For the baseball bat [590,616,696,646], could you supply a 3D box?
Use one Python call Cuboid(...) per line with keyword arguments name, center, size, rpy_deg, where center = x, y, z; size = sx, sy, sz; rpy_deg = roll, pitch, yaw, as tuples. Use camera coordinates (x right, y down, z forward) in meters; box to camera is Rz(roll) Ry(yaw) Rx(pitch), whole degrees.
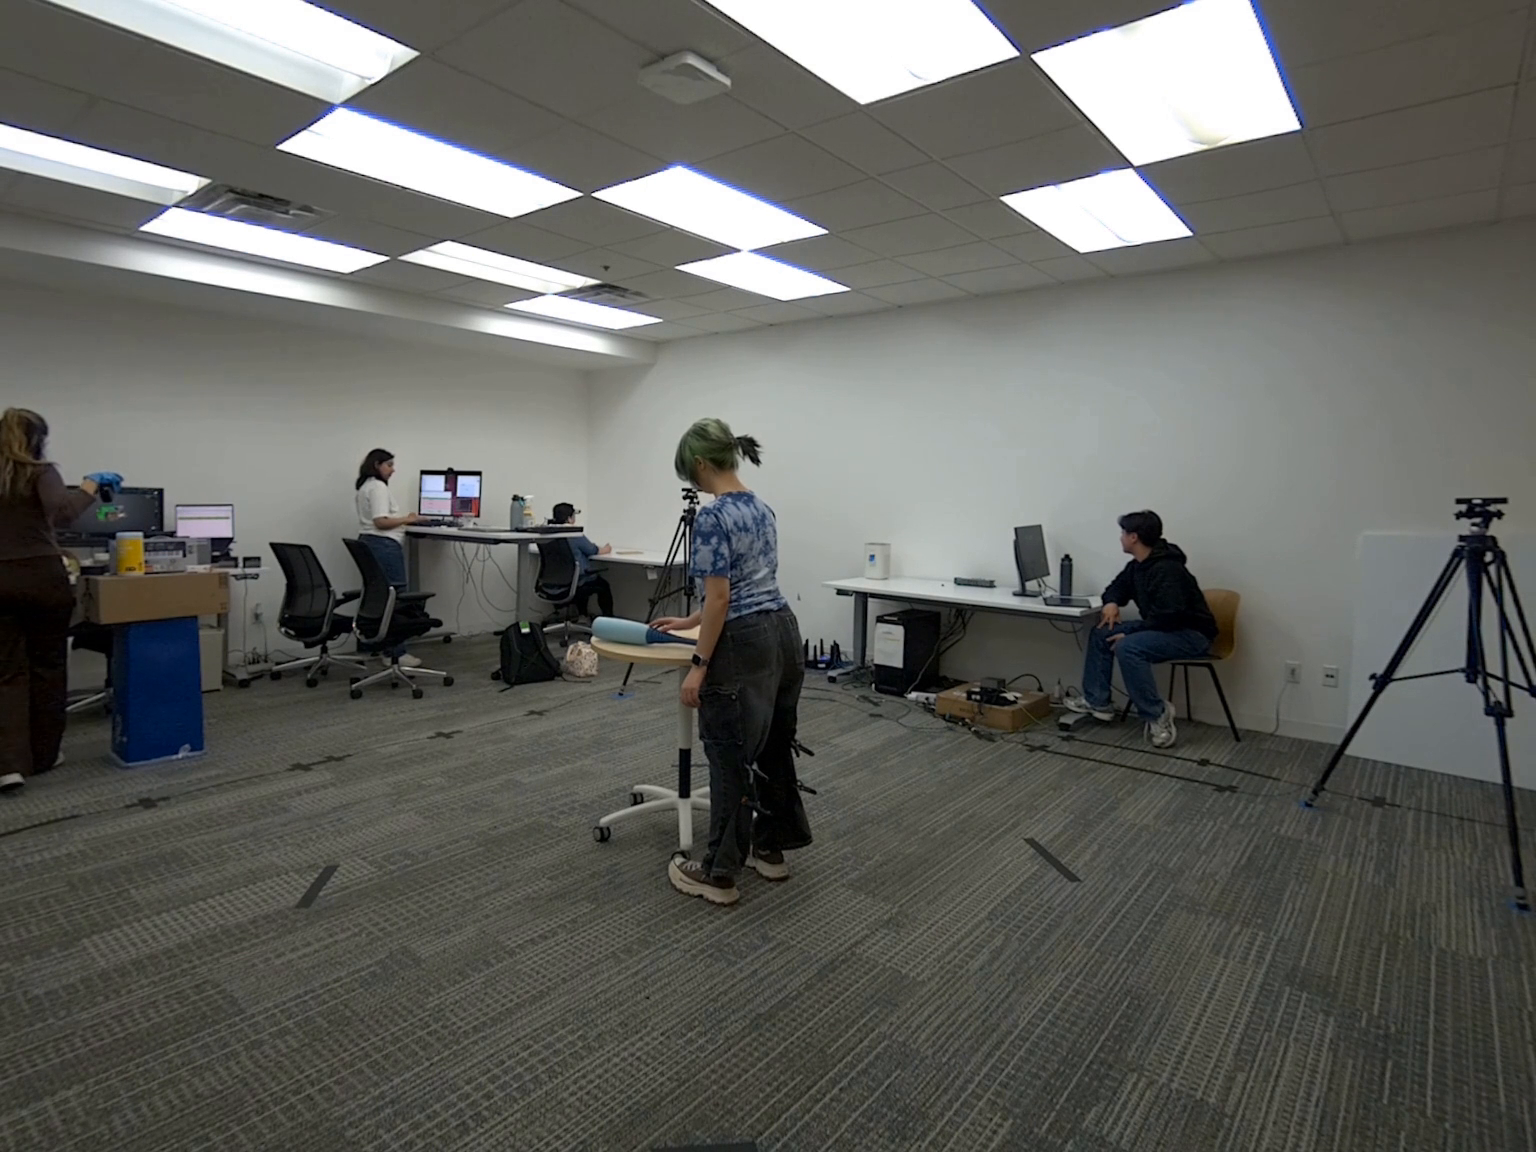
Cuboid(name="baseball bat", center=(-0.446, 0.232, 3.266), size=(0.558, 0.089, 0.087), rpy_deg=(7, 6, 25))
